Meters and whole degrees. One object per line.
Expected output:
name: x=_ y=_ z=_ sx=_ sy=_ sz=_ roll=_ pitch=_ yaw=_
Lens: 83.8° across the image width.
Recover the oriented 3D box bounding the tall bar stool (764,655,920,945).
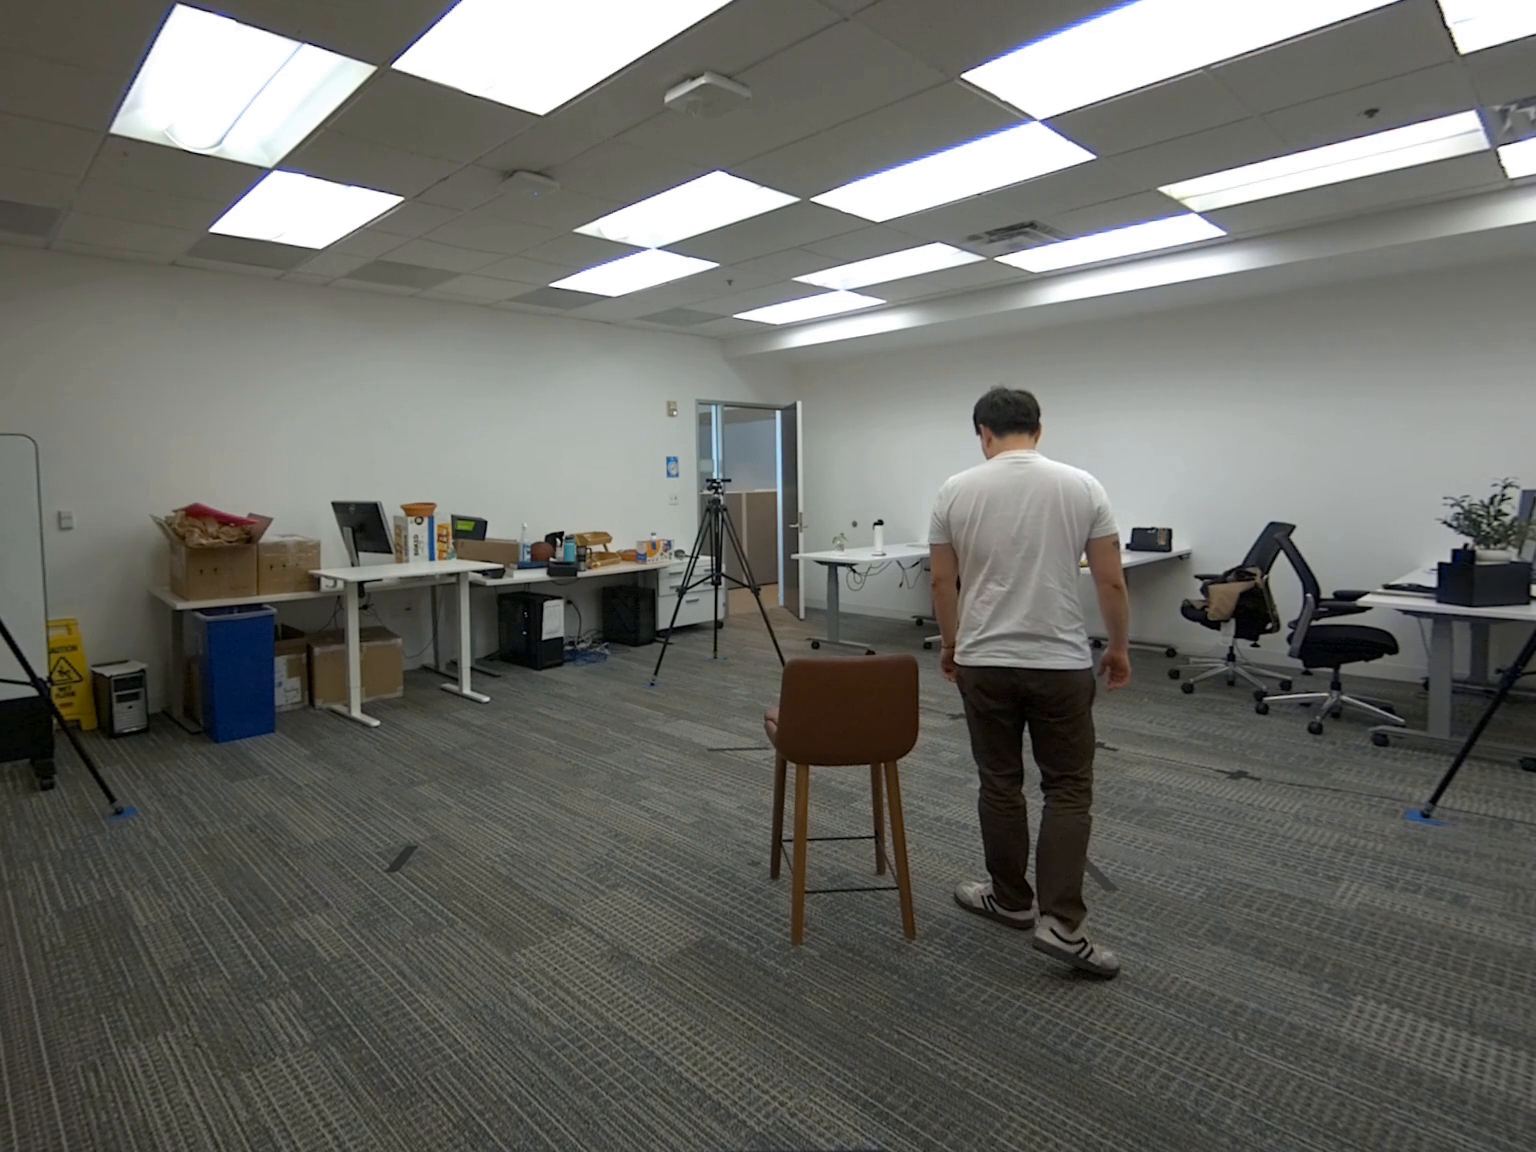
tall bar stool: x=0.232 y=0.646 z=2.757 sx=0.454 sy=0.885 sz=0.472 roll=-1 pitch=6 yaw=-5
